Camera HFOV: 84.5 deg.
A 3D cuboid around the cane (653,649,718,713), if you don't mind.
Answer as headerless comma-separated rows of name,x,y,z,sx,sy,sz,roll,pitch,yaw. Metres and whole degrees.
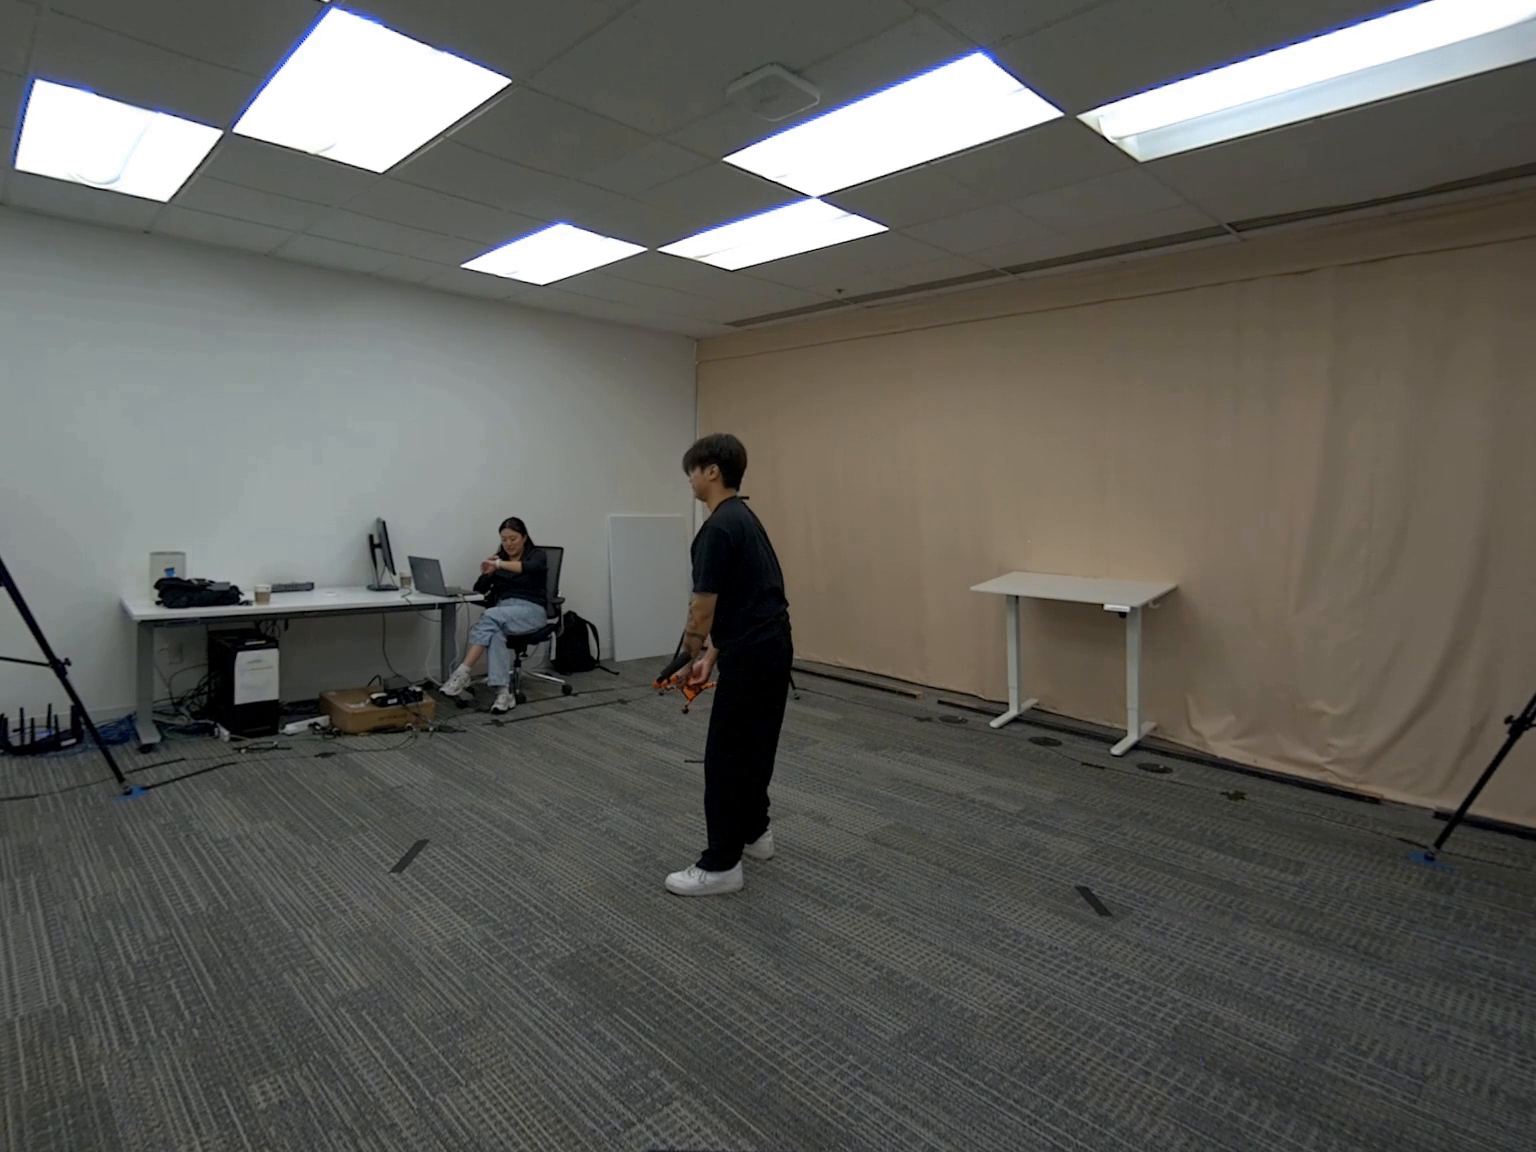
cane,-0.337,0.393,3.142,0.206,0.153,0.898,-40,-9,-6
